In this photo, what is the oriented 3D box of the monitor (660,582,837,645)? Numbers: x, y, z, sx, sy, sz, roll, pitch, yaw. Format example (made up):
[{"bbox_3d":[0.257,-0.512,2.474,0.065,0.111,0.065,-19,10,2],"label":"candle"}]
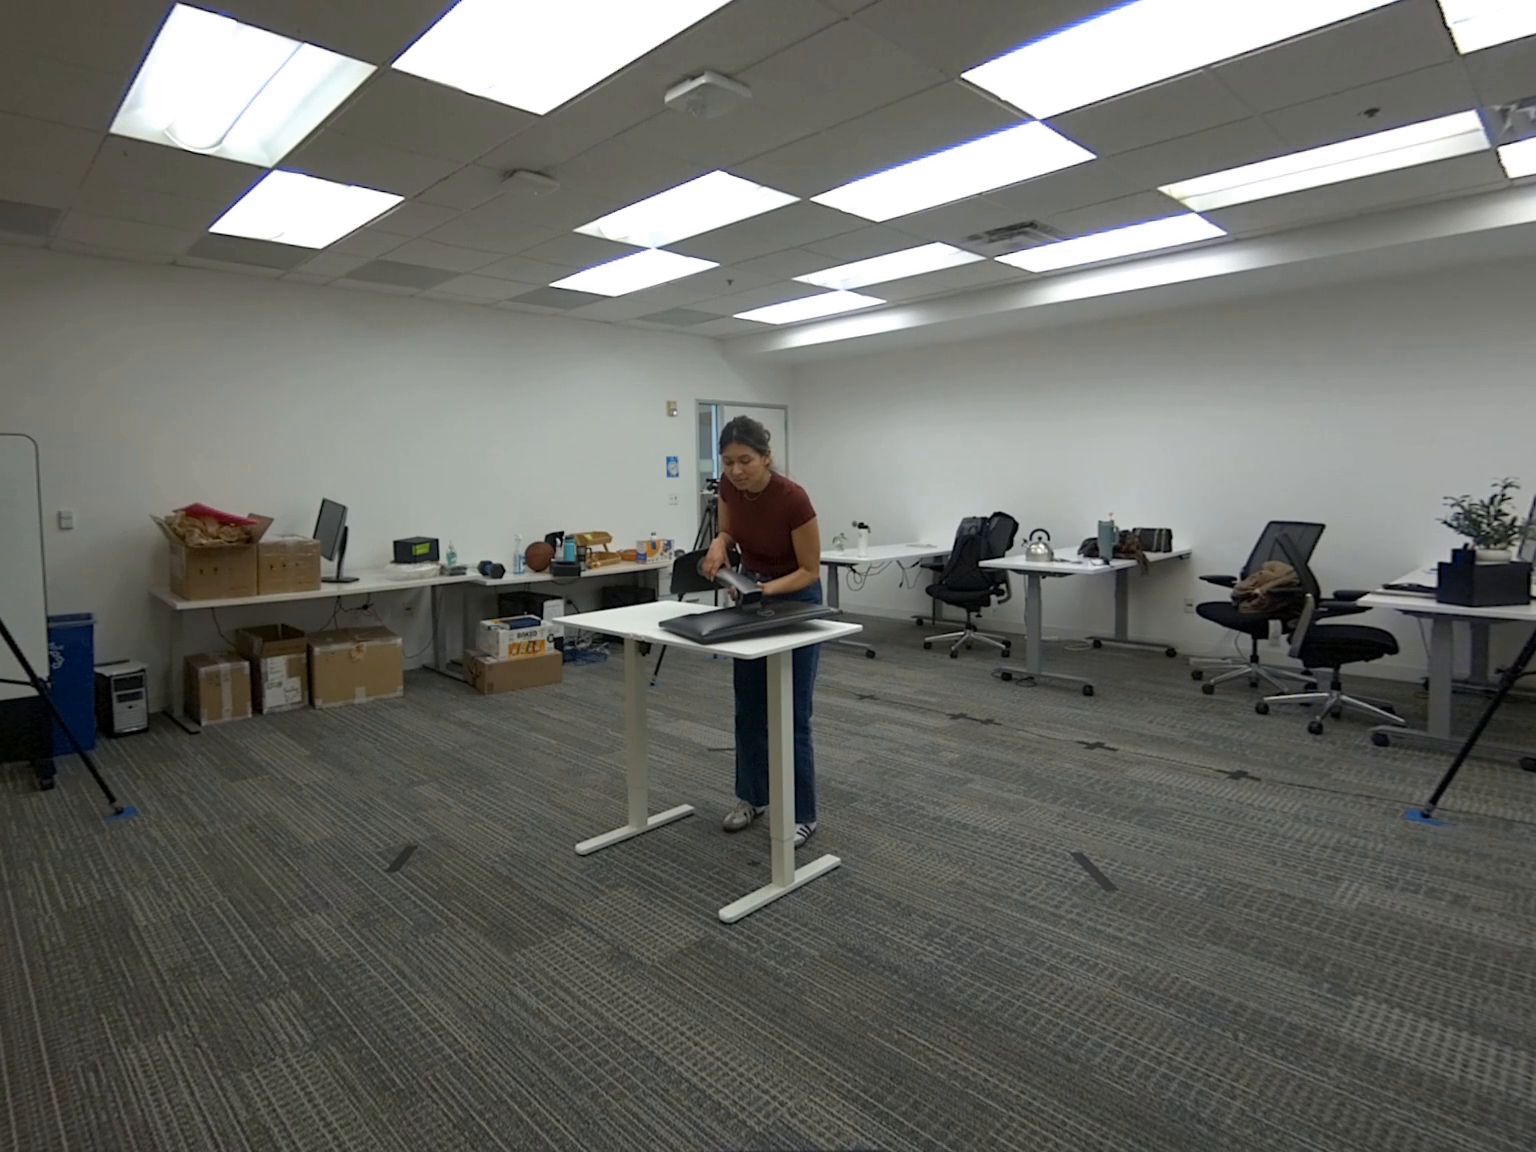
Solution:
[{"bbox_3d":[-0.116,0.074,2.991,0.529,0.184,0.542,-10,24,-27],"label":"monitor"}]
